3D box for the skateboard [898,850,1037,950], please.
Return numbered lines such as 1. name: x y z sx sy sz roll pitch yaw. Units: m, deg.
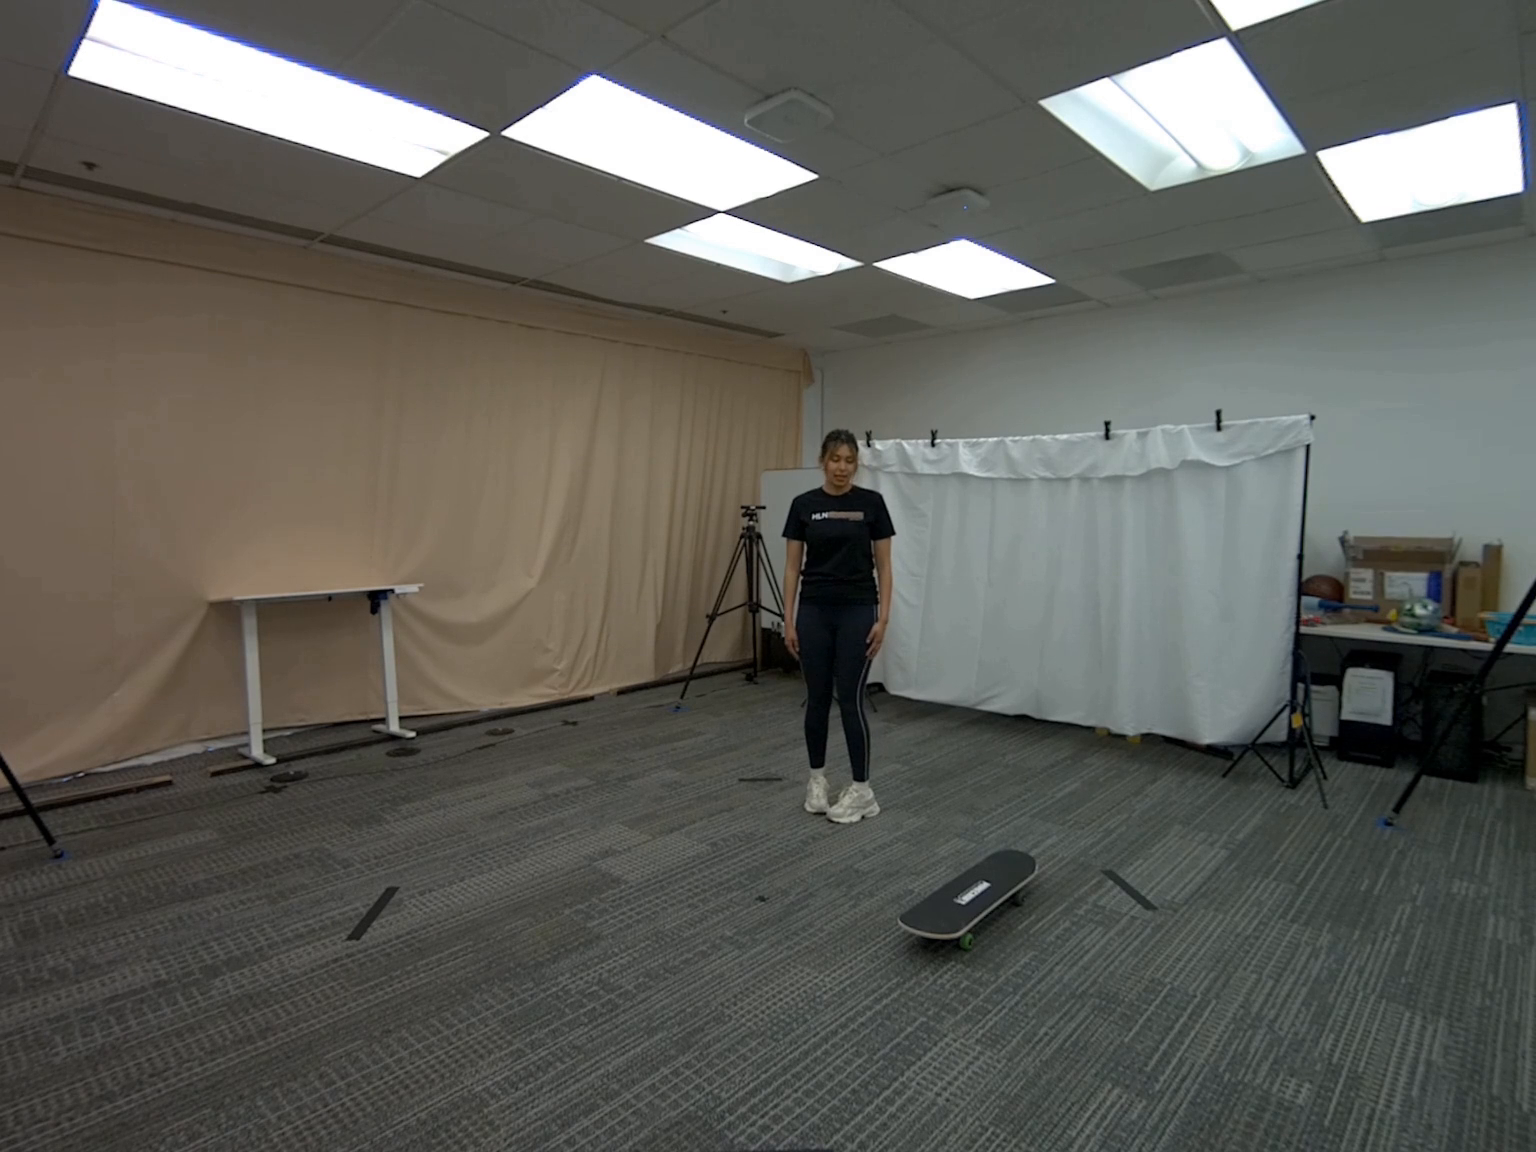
1. skateboard: 0.696 1.100 2.830 0.200 0.110 0.762 3 6 40
